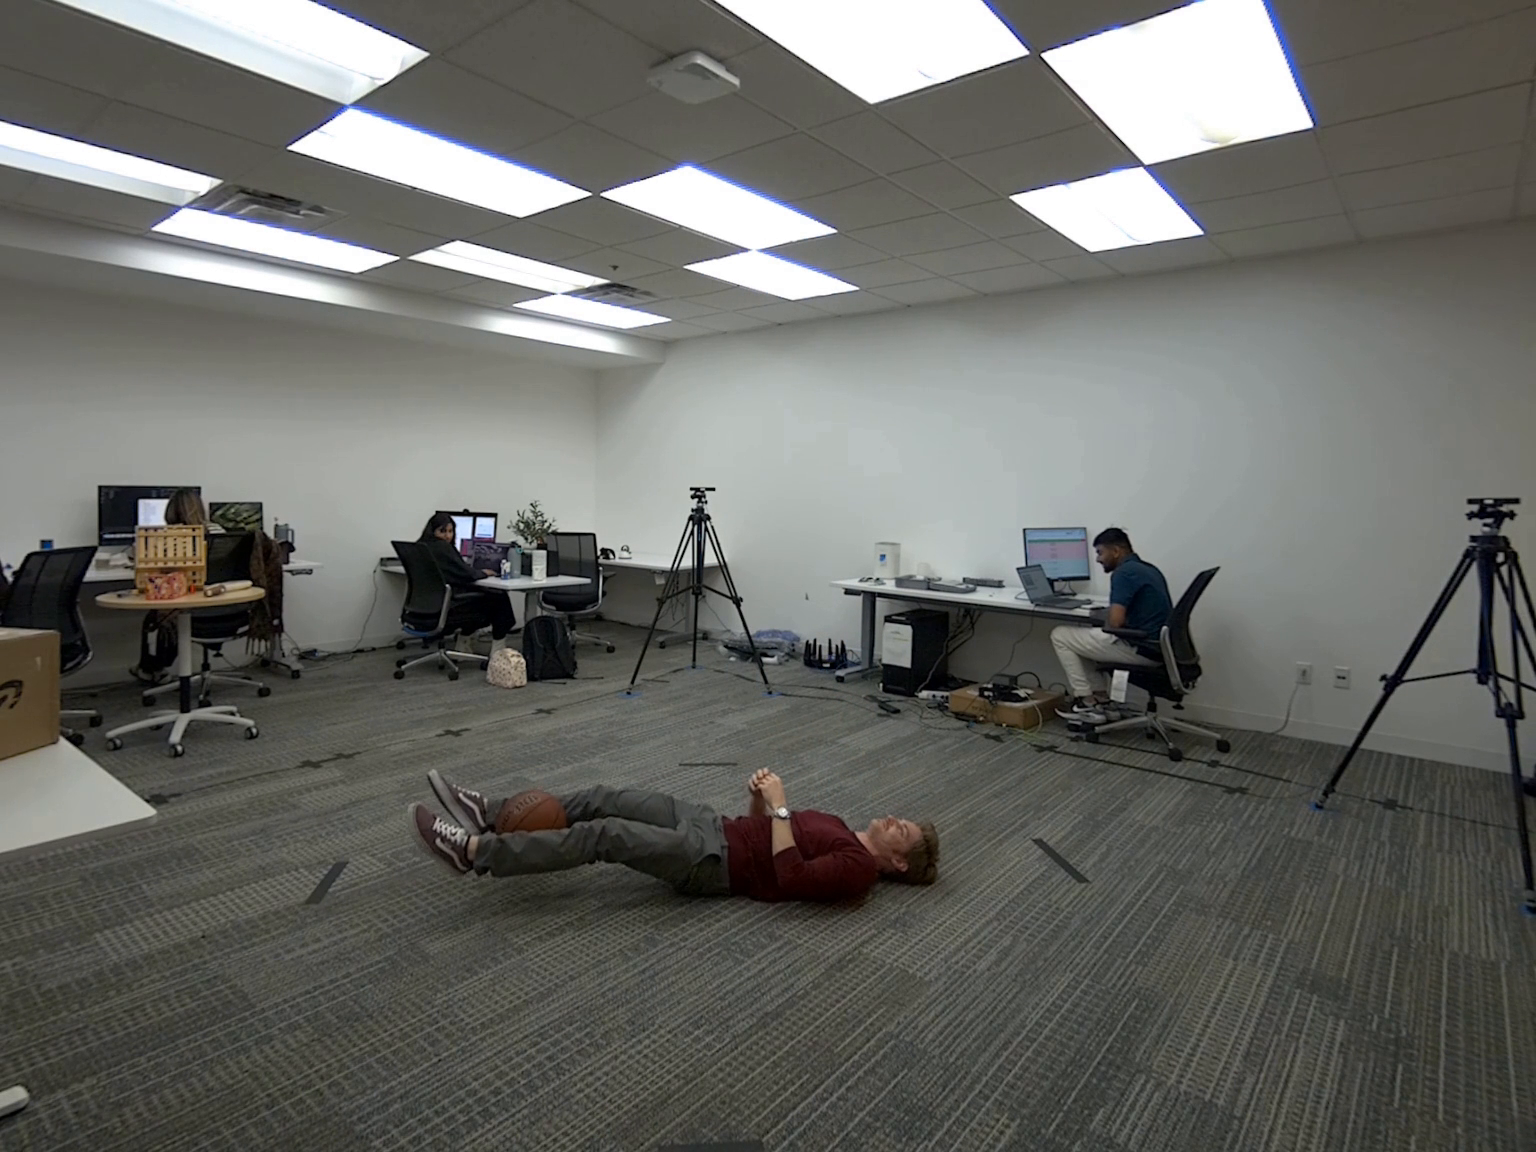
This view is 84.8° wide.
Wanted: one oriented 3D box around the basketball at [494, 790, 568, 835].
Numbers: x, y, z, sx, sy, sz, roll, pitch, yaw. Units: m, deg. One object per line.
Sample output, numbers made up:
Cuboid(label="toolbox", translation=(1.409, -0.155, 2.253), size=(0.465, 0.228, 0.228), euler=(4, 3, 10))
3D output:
Cuboid(label="basketball", translation=(-0.813, 0.845, 2.917), size=(0.235, 0.235, 0.237), euler=(1, 4, -2))
